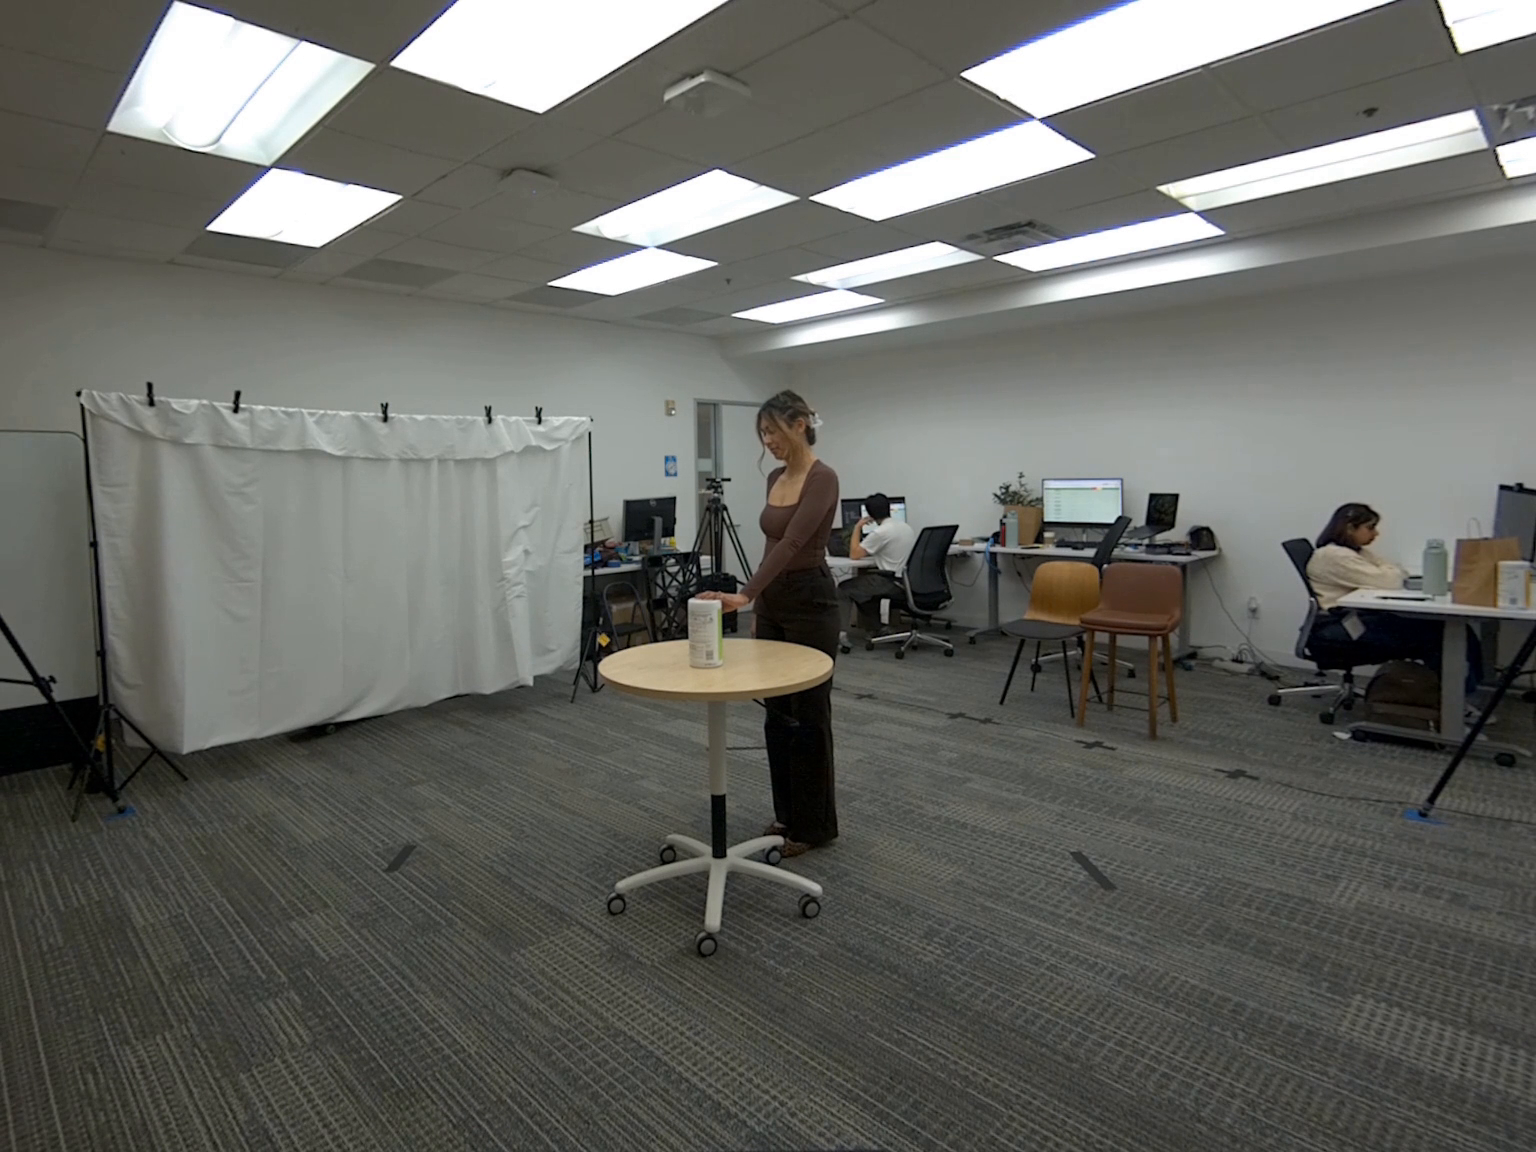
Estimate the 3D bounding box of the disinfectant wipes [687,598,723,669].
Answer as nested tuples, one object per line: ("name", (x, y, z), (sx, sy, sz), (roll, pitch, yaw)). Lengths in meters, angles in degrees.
("disinfectant wipes", (-0.196, 0.182, 2.751), (0.118, 0.217, 0.118), (0, 3, -2))
